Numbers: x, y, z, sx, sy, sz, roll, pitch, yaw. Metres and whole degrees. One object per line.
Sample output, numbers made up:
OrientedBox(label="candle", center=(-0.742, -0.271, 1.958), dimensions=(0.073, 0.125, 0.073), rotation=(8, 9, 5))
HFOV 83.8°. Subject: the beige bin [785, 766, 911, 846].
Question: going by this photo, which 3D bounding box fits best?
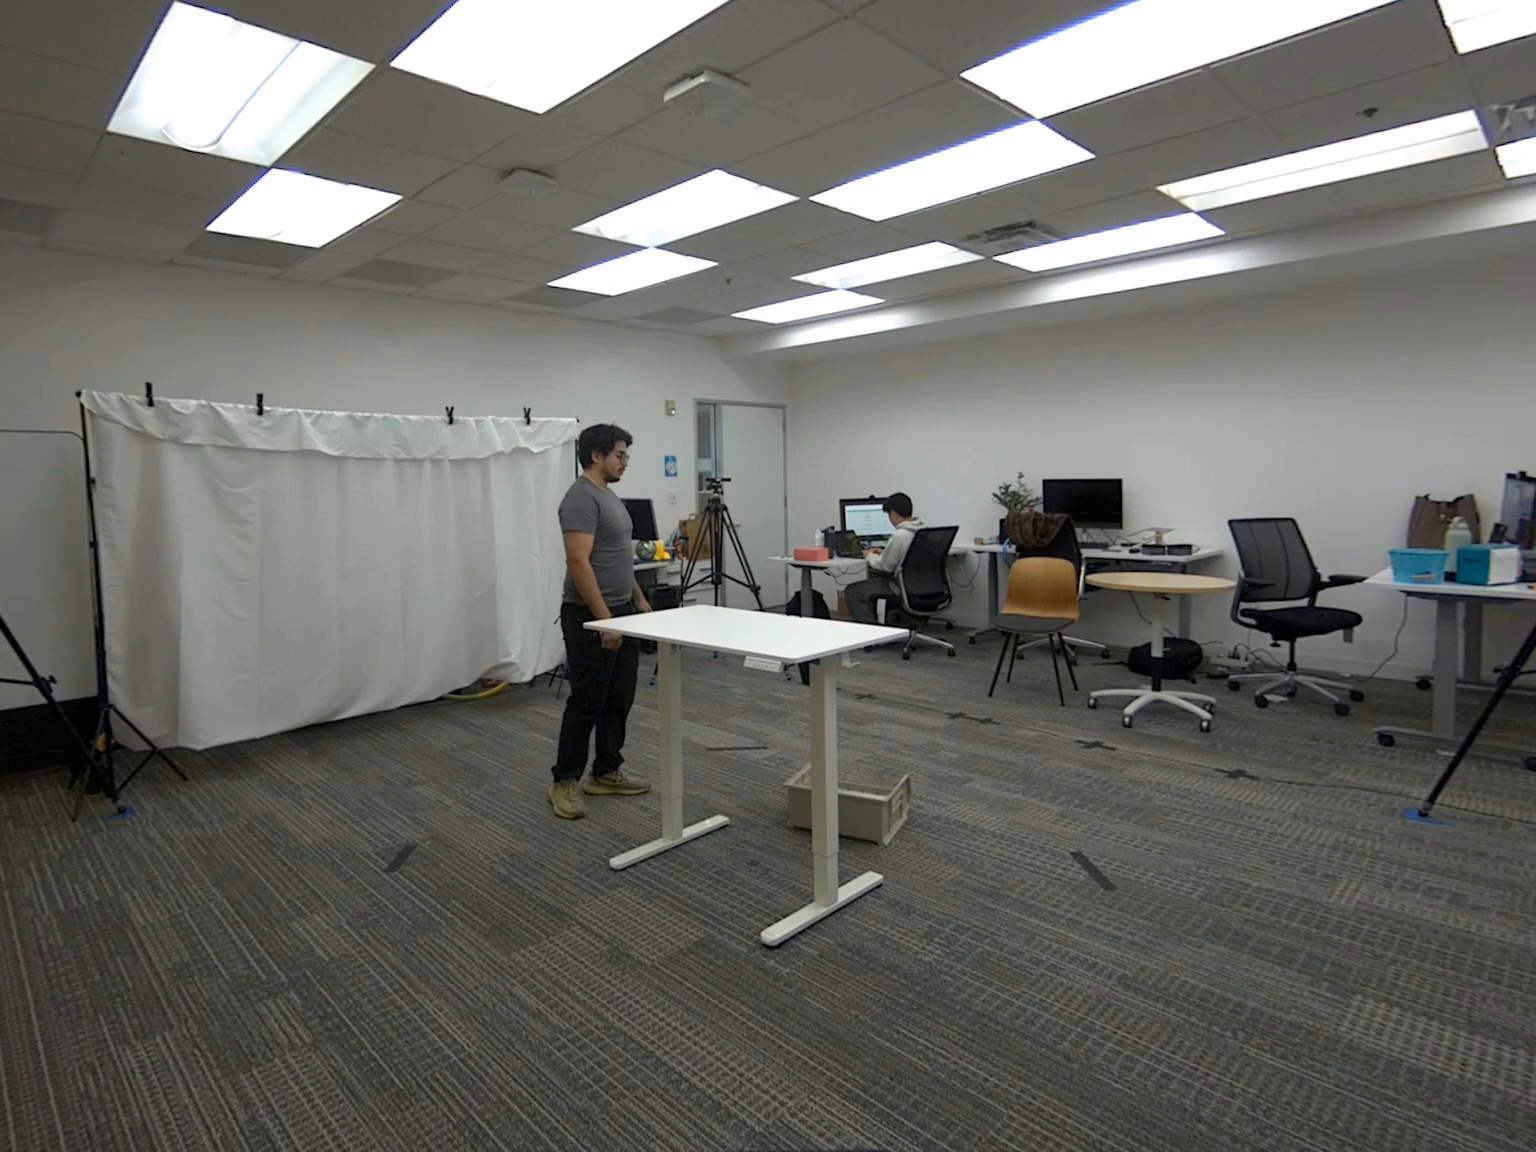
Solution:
OrientedBox(label="beige bin", center=(0.329, 0.908, 3.475), dimensions=(0.432, 0.188, 0.370), rotation=(2, 7, 25))
